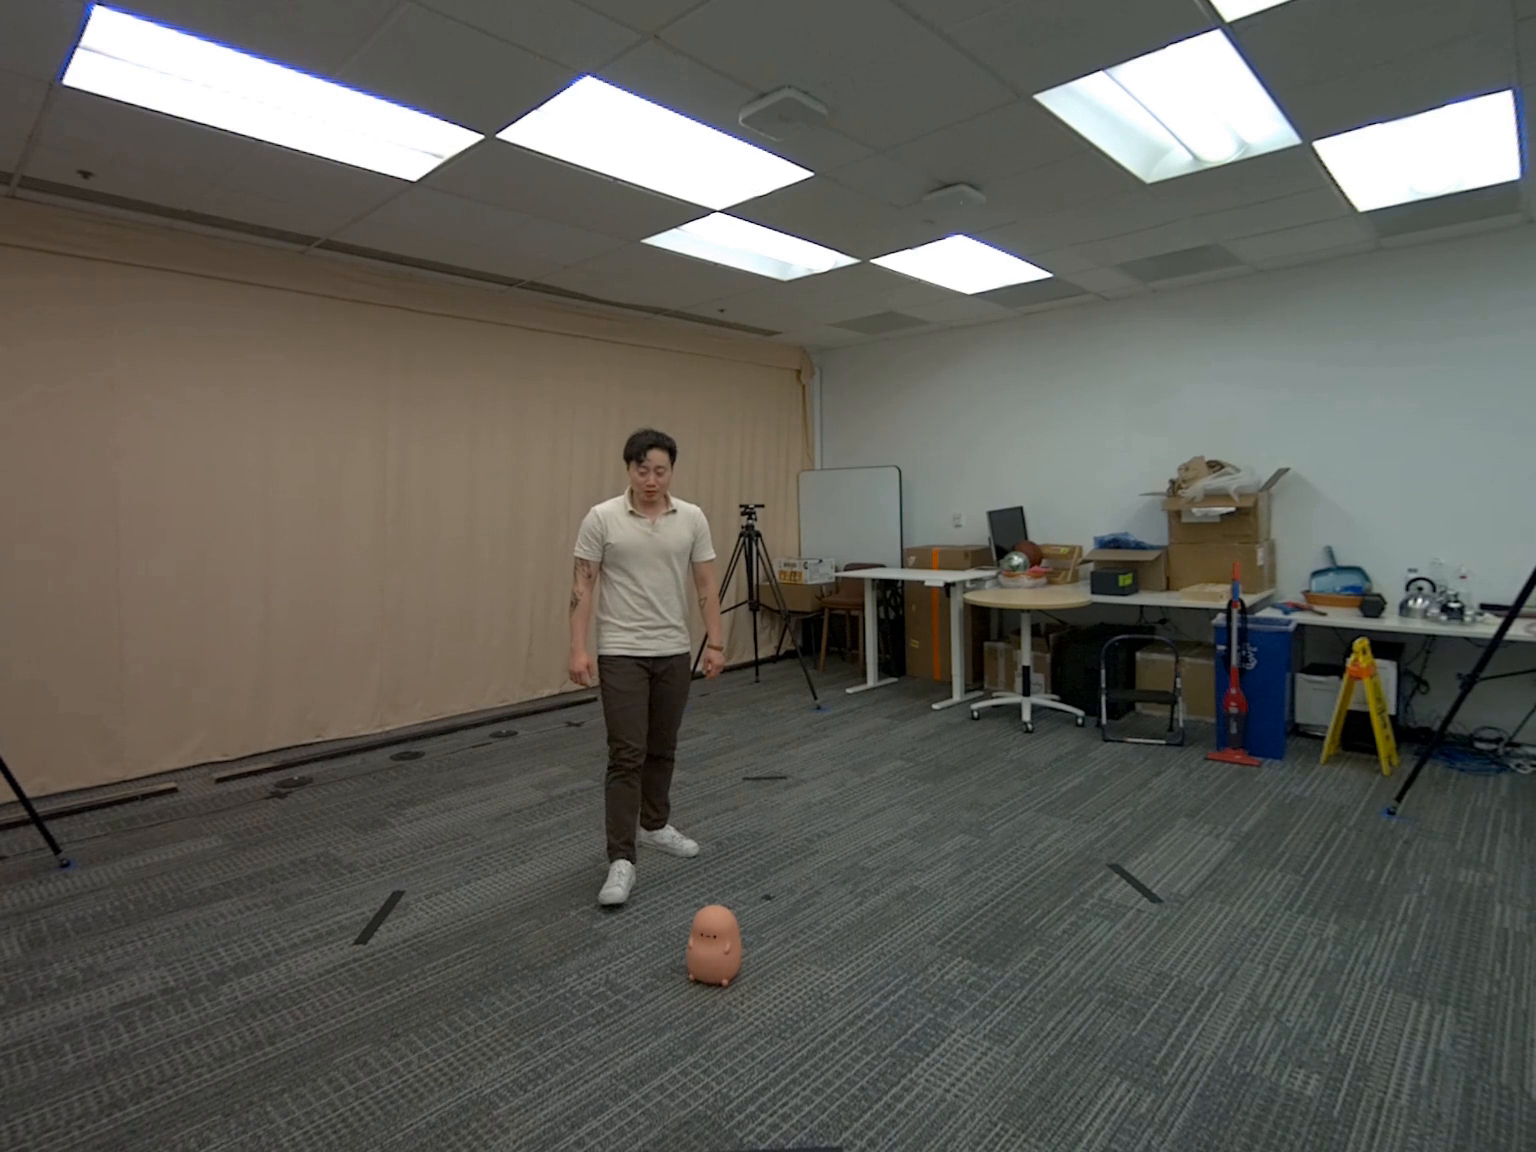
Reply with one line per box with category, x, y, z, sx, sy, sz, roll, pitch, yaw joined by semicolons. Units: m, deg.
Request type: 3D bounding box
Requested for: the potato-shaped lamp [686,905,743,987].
potato-shaped lamp;-0.157;1.089;2.494;0.168;0.197;0.168;1;5;19
